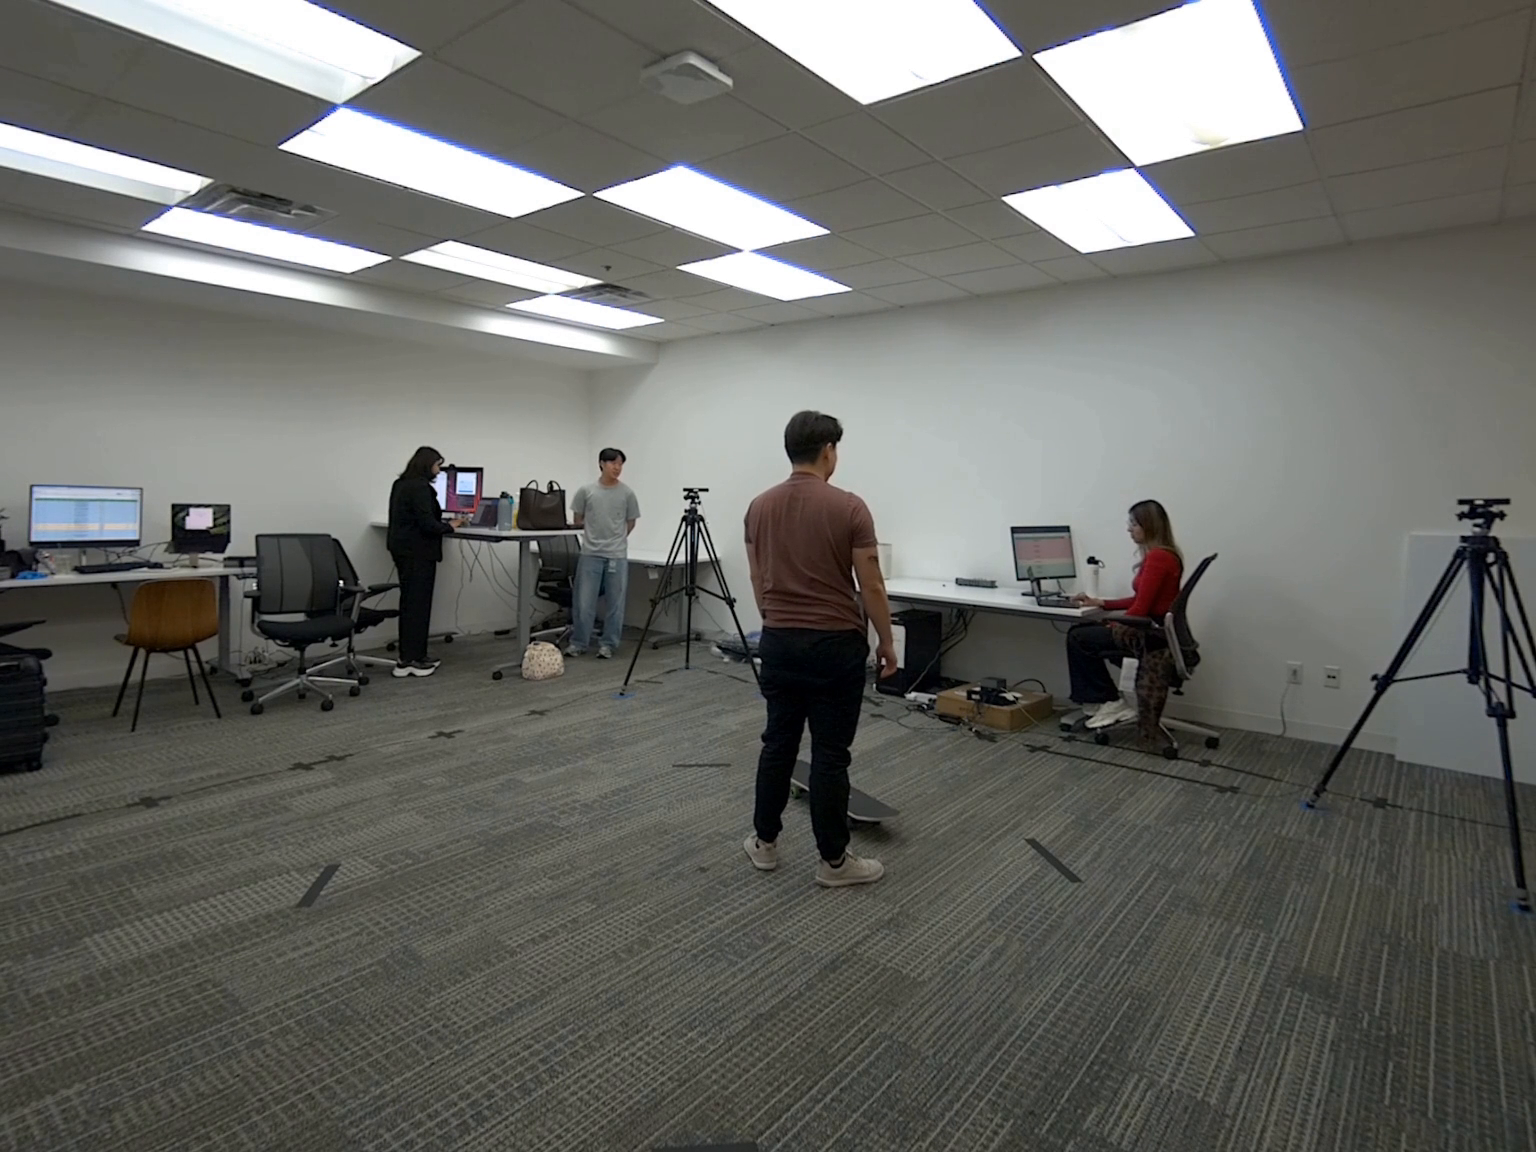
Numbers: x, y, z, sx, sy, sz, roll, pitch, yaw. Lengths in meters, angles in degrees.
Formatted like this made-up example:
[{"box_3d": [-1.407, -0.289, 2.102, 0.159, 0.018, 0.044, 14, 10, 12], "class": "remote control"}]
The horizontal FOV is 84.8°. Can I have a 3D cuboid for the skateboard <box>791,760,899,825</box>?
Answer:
[{"box_3d": [0.282, 0.964, 3.727, 0.188, 0.110, 0.809, -4, 7, -29], "class": "skateboard"}]
